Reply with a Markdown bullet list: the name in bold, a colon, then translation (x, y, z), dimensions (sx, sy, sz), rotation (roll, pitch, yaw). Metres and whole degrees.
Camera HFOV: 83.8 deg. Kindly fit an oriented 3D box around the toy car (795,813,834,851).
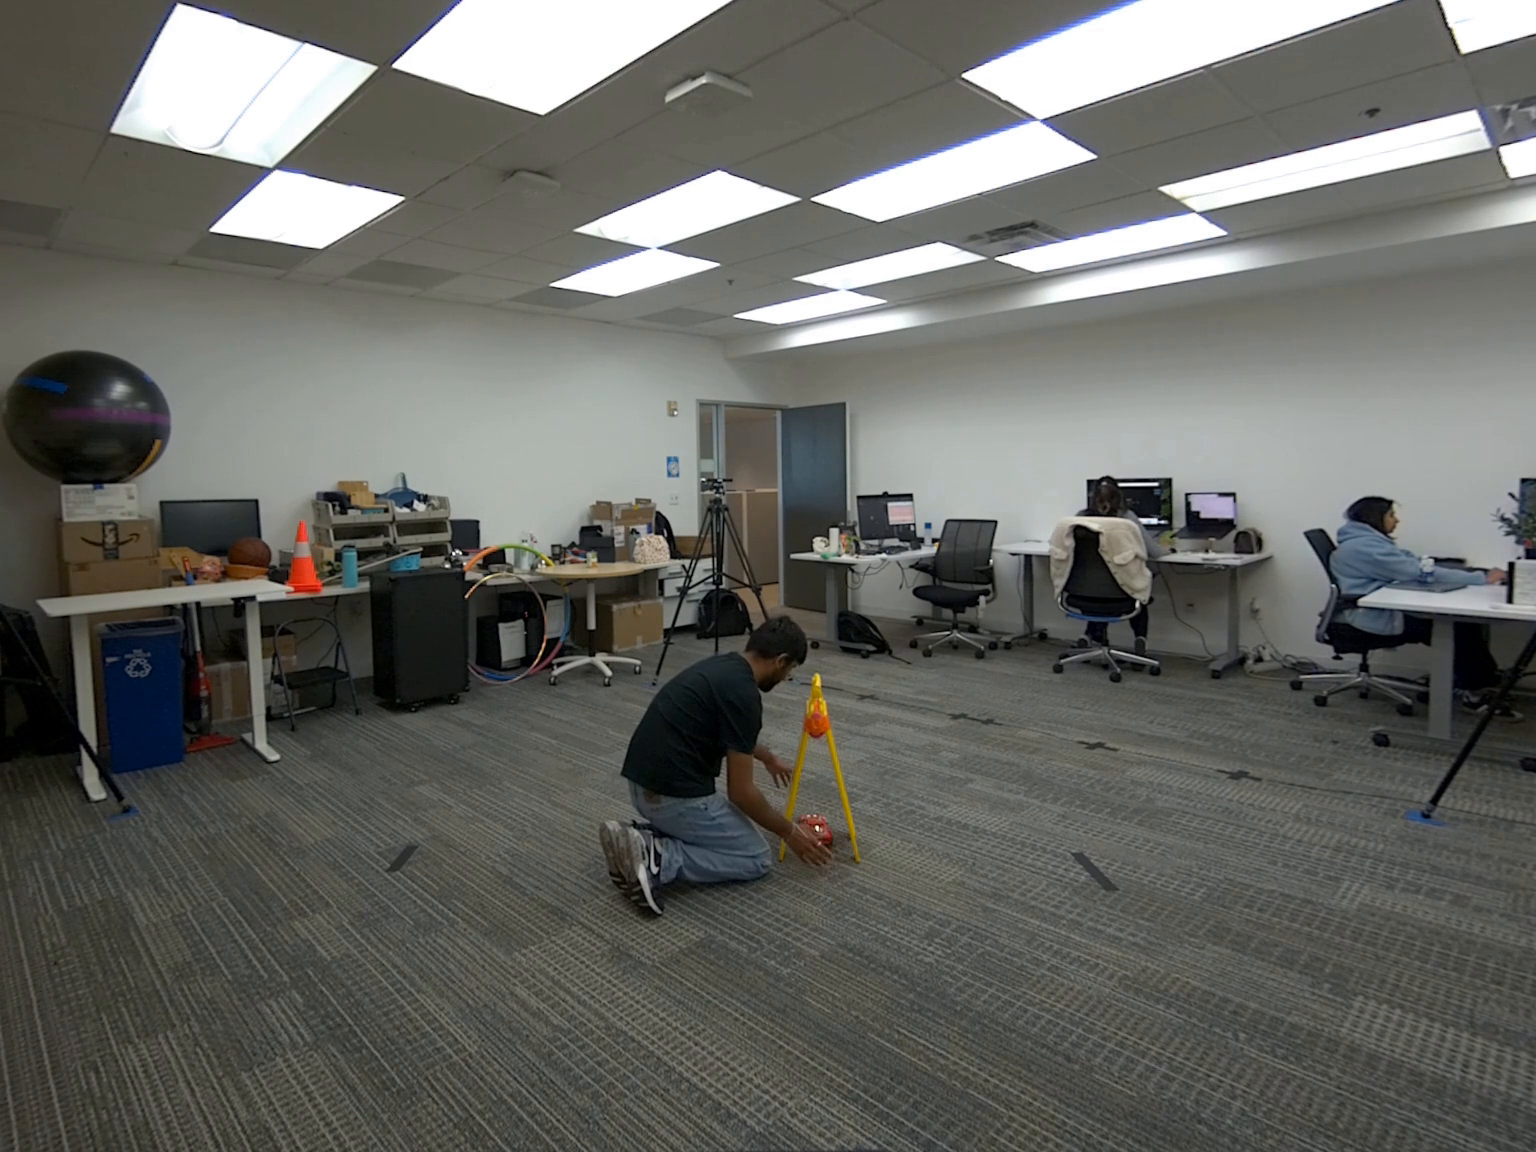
- **toy car**: translation (0.183, 0.980, 3.294), dimensions (0.130, 0.083, 0.254), rotation (0, -2, -4)
